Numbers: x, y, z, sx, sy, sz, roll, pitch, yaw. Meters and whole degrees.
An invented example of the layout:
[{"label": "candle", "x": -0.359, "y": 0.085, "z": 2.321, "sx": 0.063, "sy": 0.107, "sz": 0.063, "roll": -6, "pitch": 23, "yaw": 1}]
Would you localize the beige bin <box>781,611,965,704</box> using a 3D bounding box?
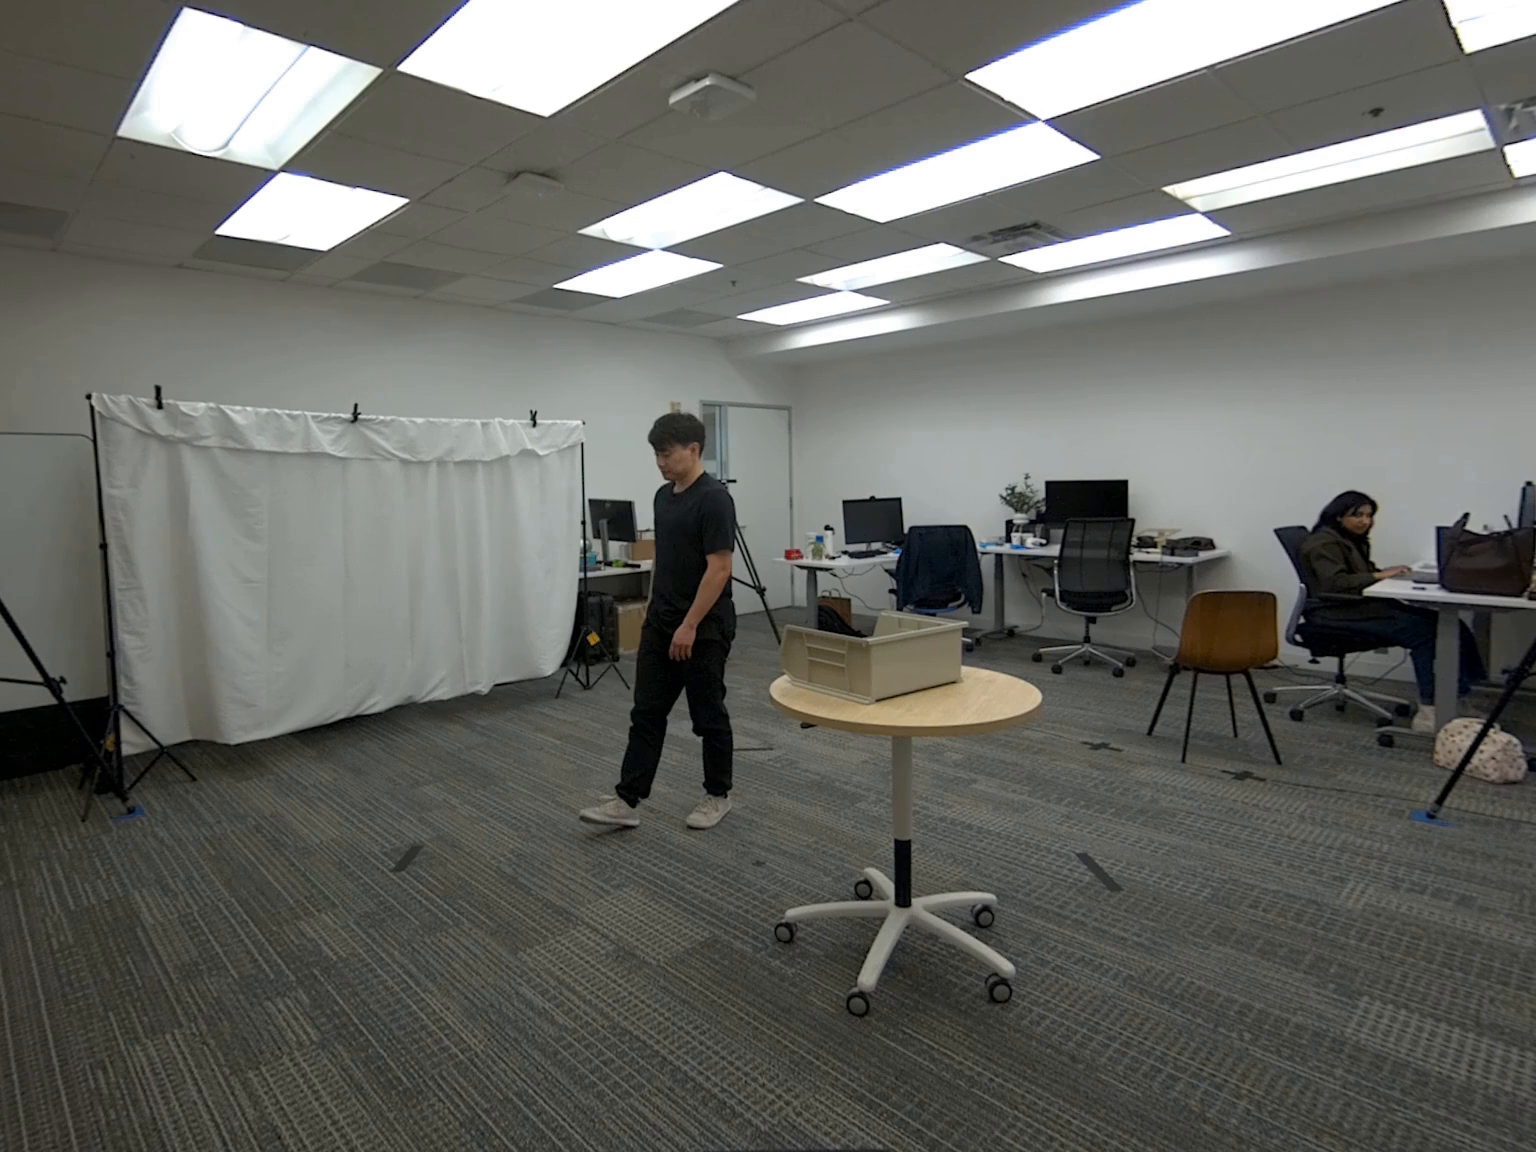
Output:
[{"label": "beige bin", "x": 0.315, "y": 0.233, "z": 2.554, "sx": 0.411, "sy": 0.188, "sz": 0.389, "roll": -5, "pitch": 8, "yaw": -38}]
